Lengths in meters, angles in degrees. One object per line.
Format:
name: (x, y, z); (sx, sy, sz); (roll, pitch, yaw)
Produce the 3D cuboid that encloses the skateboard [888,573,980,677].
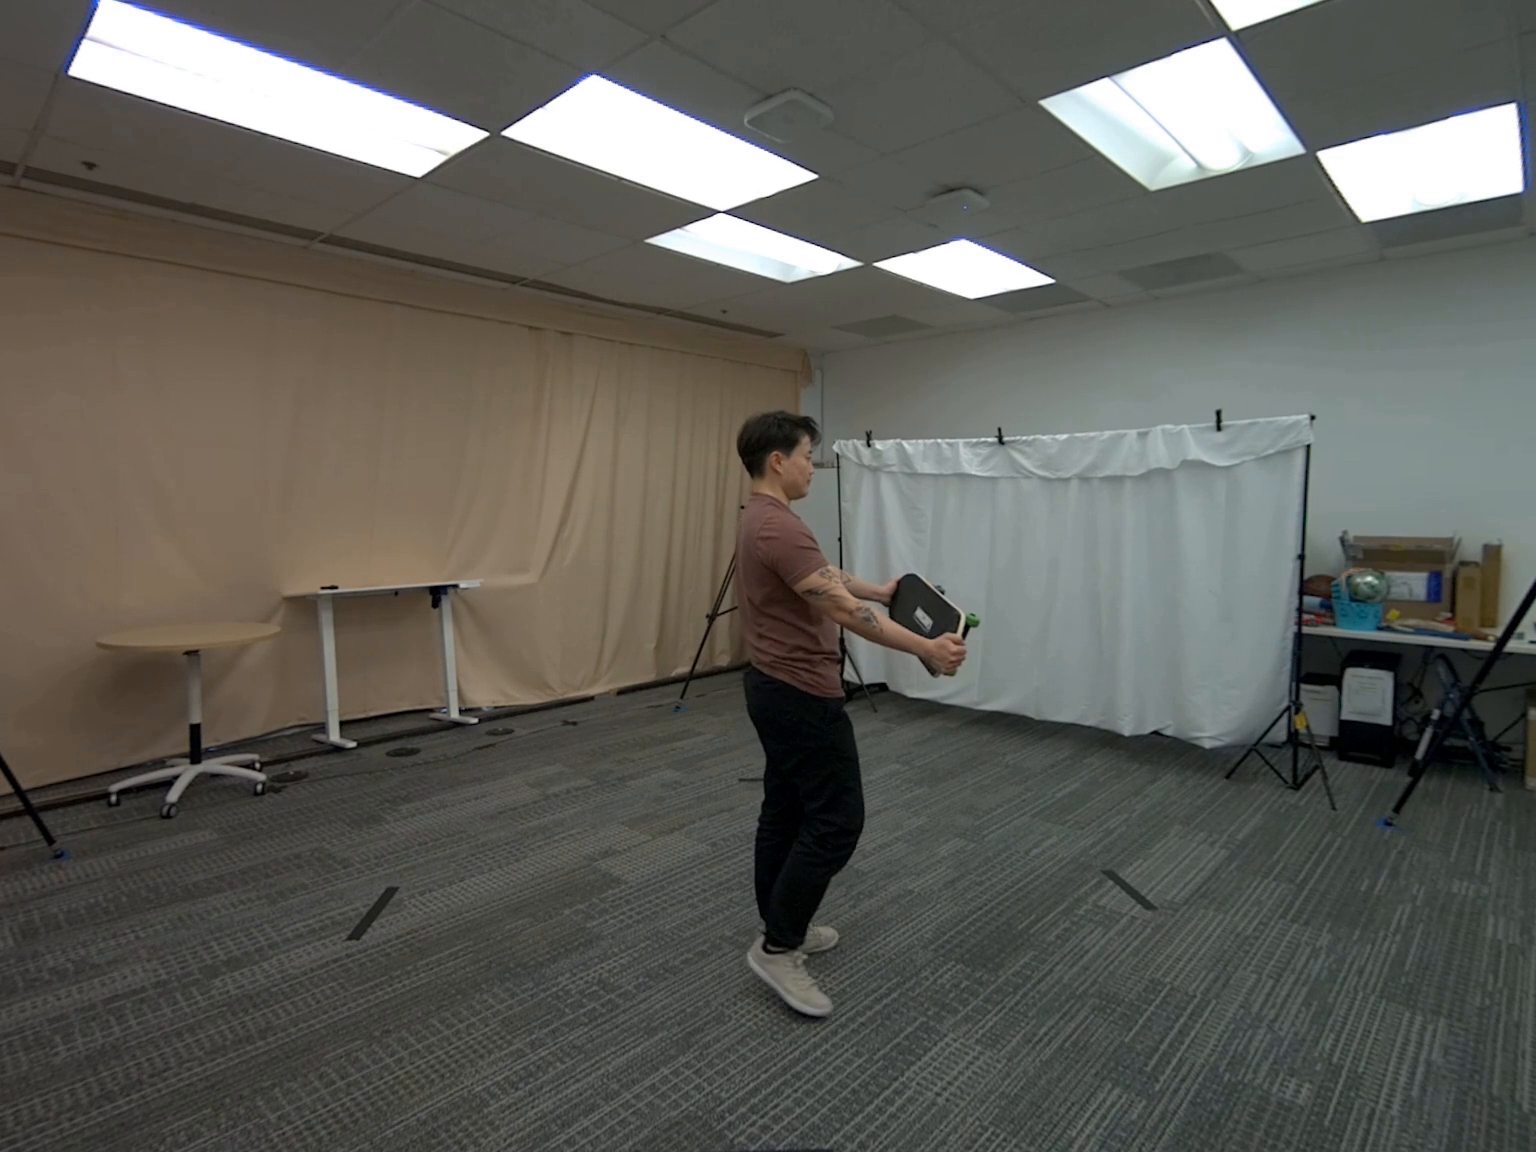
skateboard: (0.516, 0.148, 2.586); (0.110, 0.193, 0.790); (24, 9, -6)
